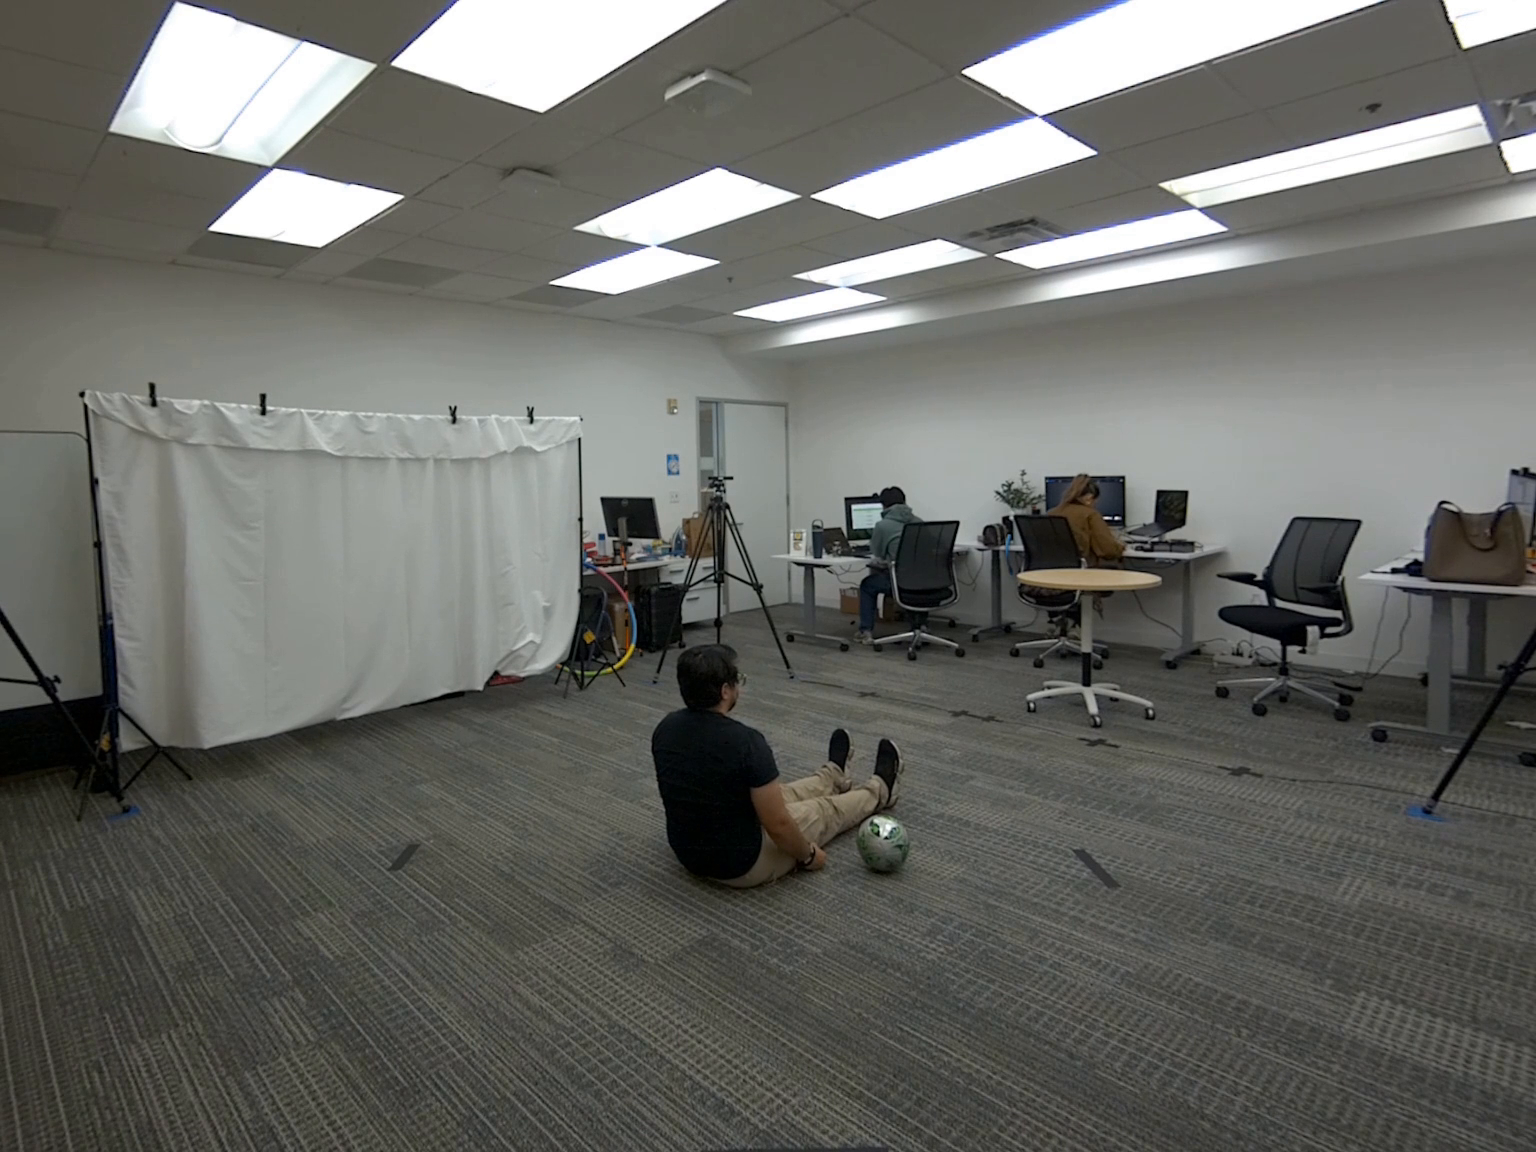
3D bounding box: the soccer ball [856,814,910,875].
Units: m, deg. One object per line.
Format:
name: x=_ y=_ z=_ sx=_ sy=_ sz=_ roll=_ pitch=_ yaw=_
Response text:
soccer ball: x=0.405 y=0.935 z=3.011 sx=0.187 sy=0.187 sz=0.188 roll=-1 pitch=4 yaw=-2
